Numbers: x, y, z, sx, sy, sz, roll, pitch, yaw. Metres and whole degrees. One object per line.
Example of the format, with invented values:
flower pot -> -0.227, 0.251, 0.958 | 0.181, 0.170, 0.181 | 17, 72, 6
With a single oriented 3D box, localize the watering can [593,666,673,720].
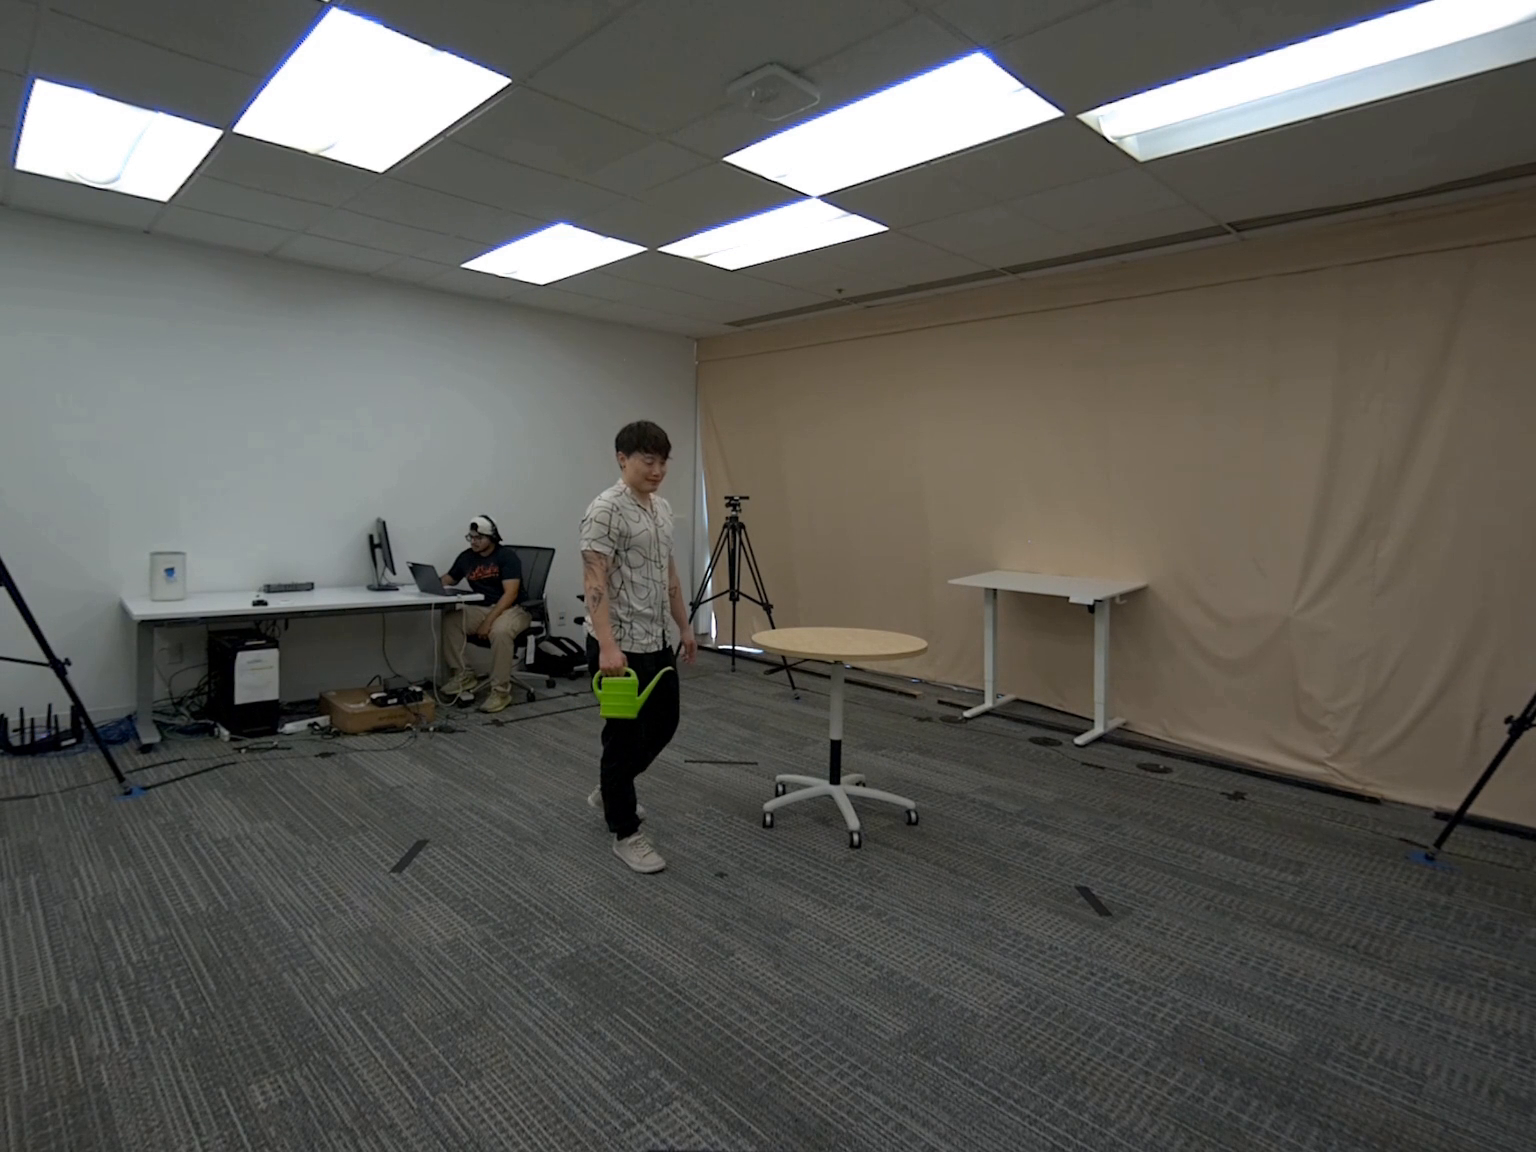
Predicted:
watering can -> -0.495, 0.402, 2.900 | 0.283, 0.177, 0.096 | -1, -6, 23
